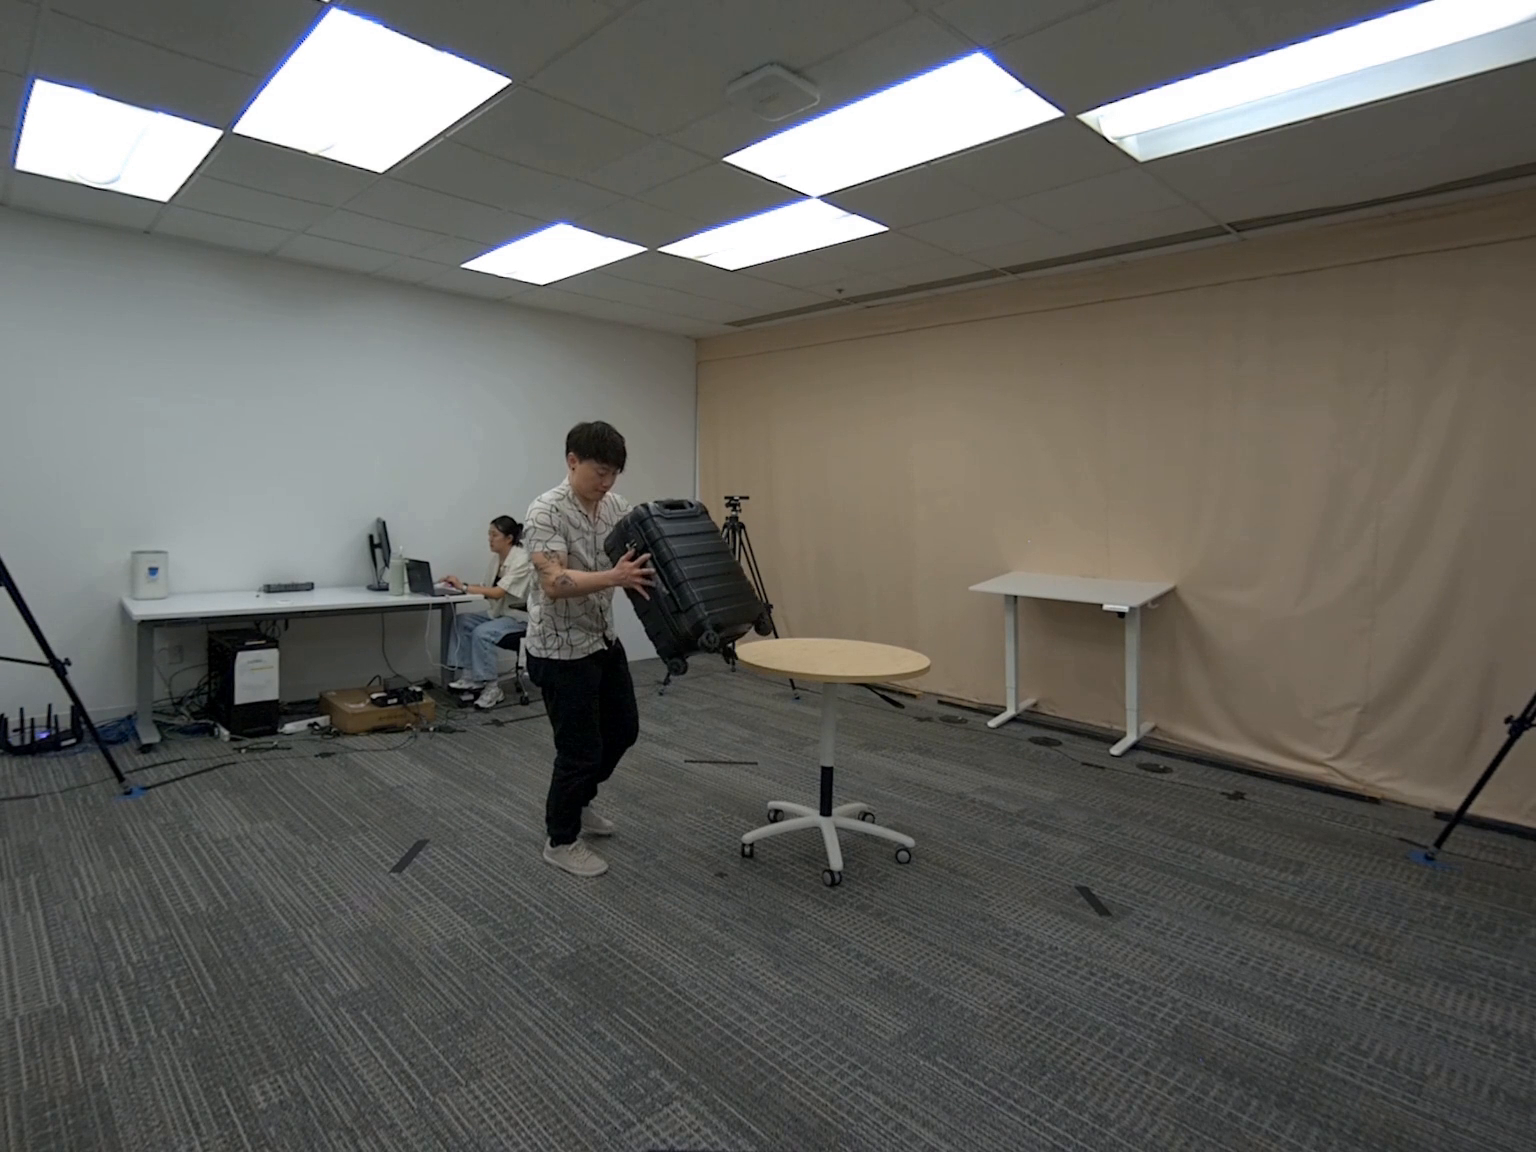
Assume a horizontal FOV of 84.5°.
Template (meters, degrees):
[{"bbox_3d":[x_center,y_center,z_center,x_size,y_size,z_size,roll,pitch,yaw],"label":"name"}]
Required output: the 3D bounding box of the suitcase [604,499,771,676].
[{"bbox_3d":[-0.285,0.023,2.773,0.249,0.558,0.368,-40,-18,32],"label":"suitcase"}]
